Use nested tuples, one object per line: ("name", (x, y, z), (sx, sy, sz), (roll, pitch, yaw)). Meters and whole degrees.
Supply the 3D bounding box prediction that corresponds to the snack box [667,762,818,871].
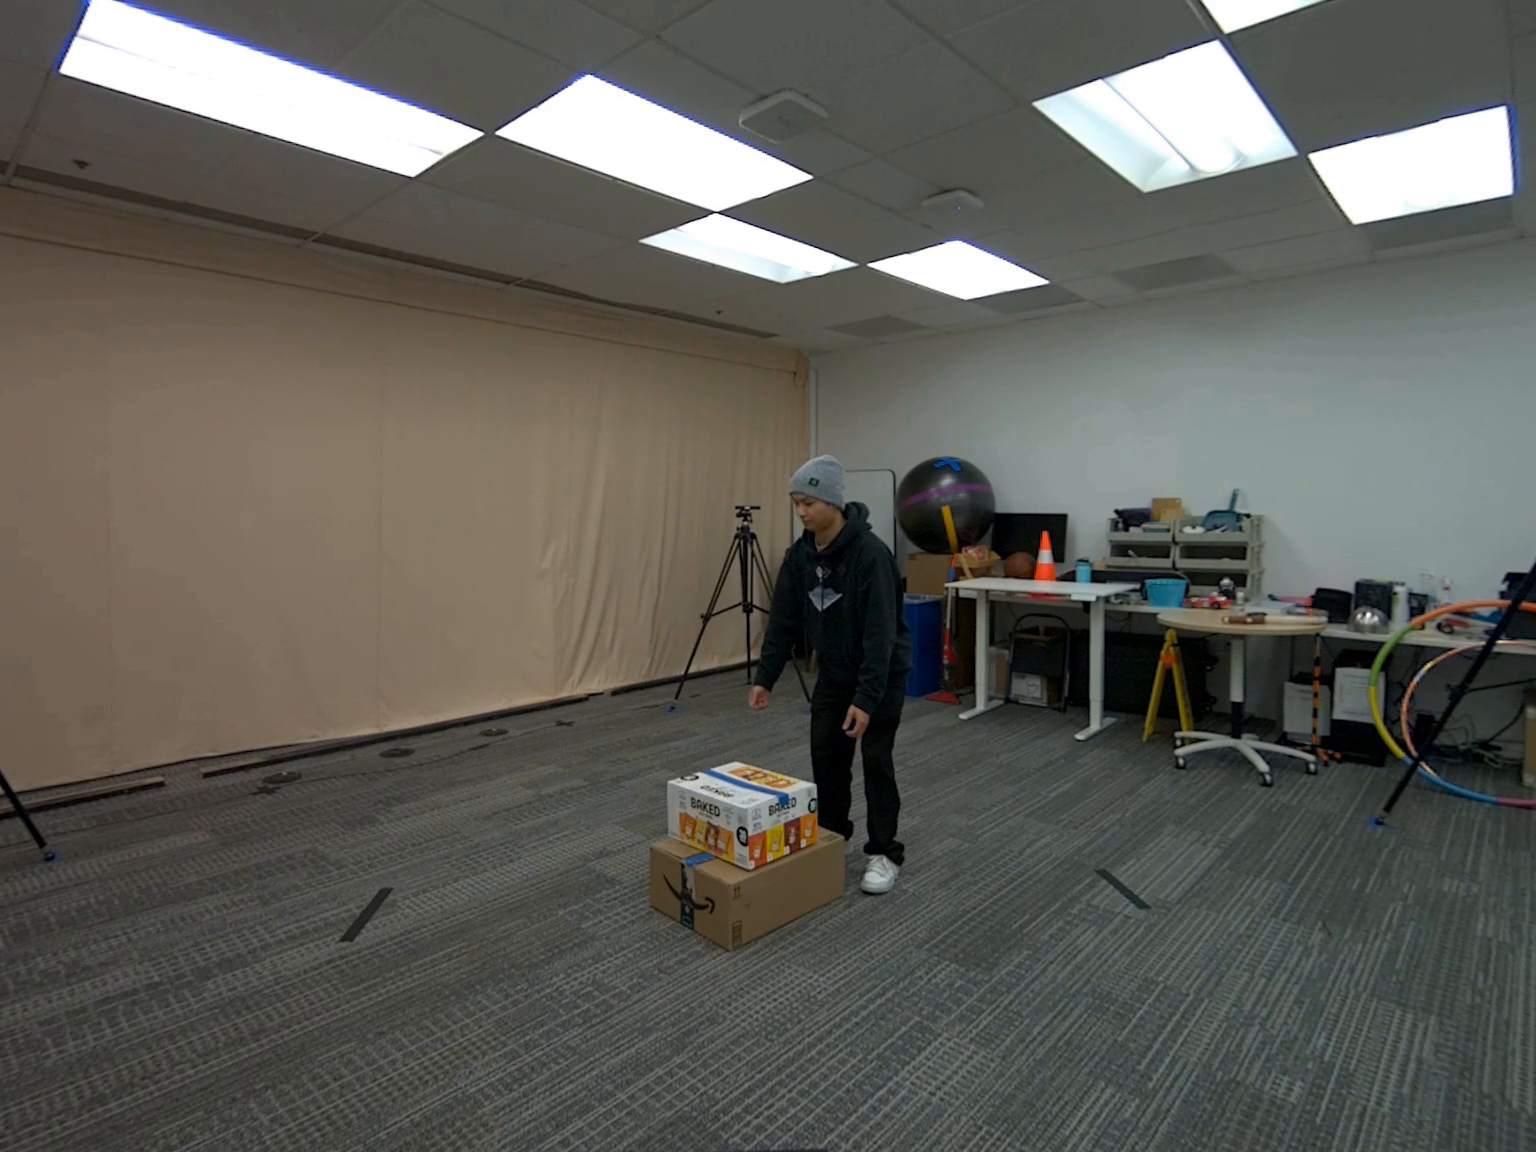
("snack box", (-0.090, 0.828, 2.954), (0.330, 0.205, 0.418), (-4, 5, -44))
